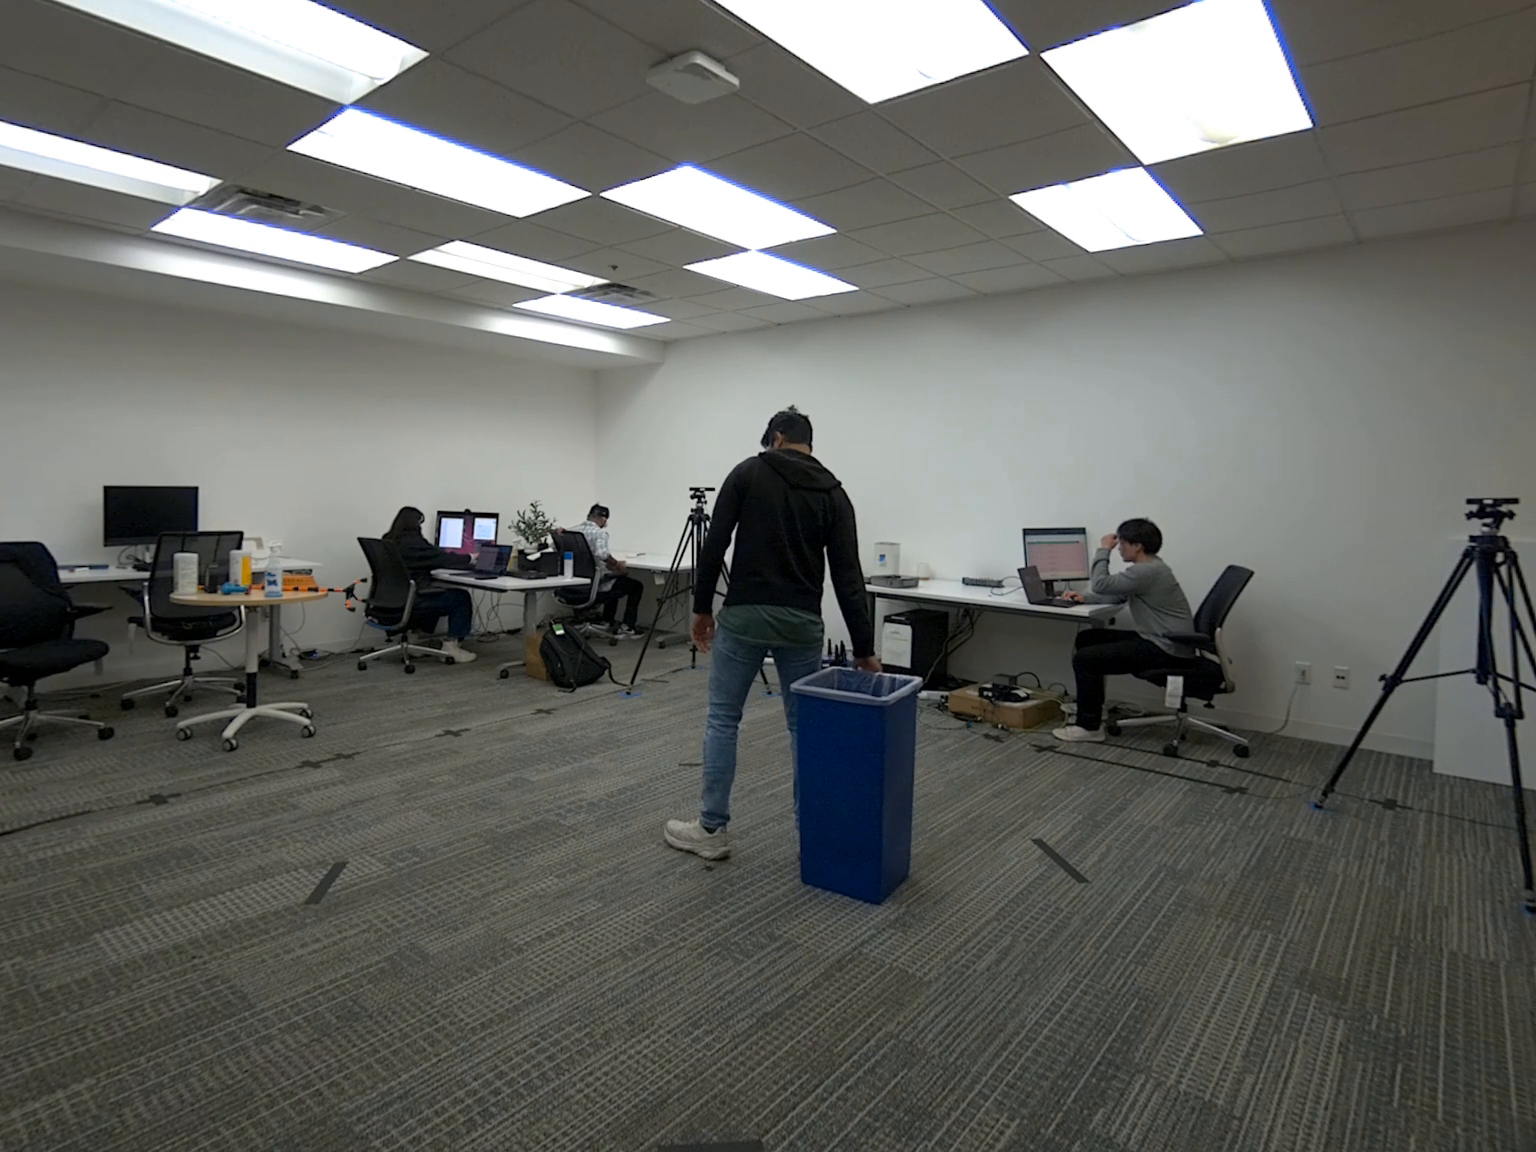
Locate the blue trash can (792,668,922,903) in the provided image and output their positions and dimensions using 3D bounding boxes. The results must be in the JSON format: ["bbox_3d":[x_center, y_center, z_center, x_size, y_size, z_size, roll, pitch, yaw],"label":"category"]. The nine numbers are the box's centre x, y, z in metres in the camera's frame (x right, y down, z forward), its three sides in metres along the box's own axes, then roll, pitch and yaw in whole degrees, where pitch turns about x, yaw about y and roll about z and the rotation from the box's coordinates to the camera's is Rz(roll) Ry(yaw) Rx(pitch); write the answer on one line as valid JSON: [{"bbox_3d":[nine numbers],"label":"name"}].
[{"bbox_3d":[0.301,0.721,3.037,0.385,0.711,0.369,3,5,30],"label":"blue trash can"}]
